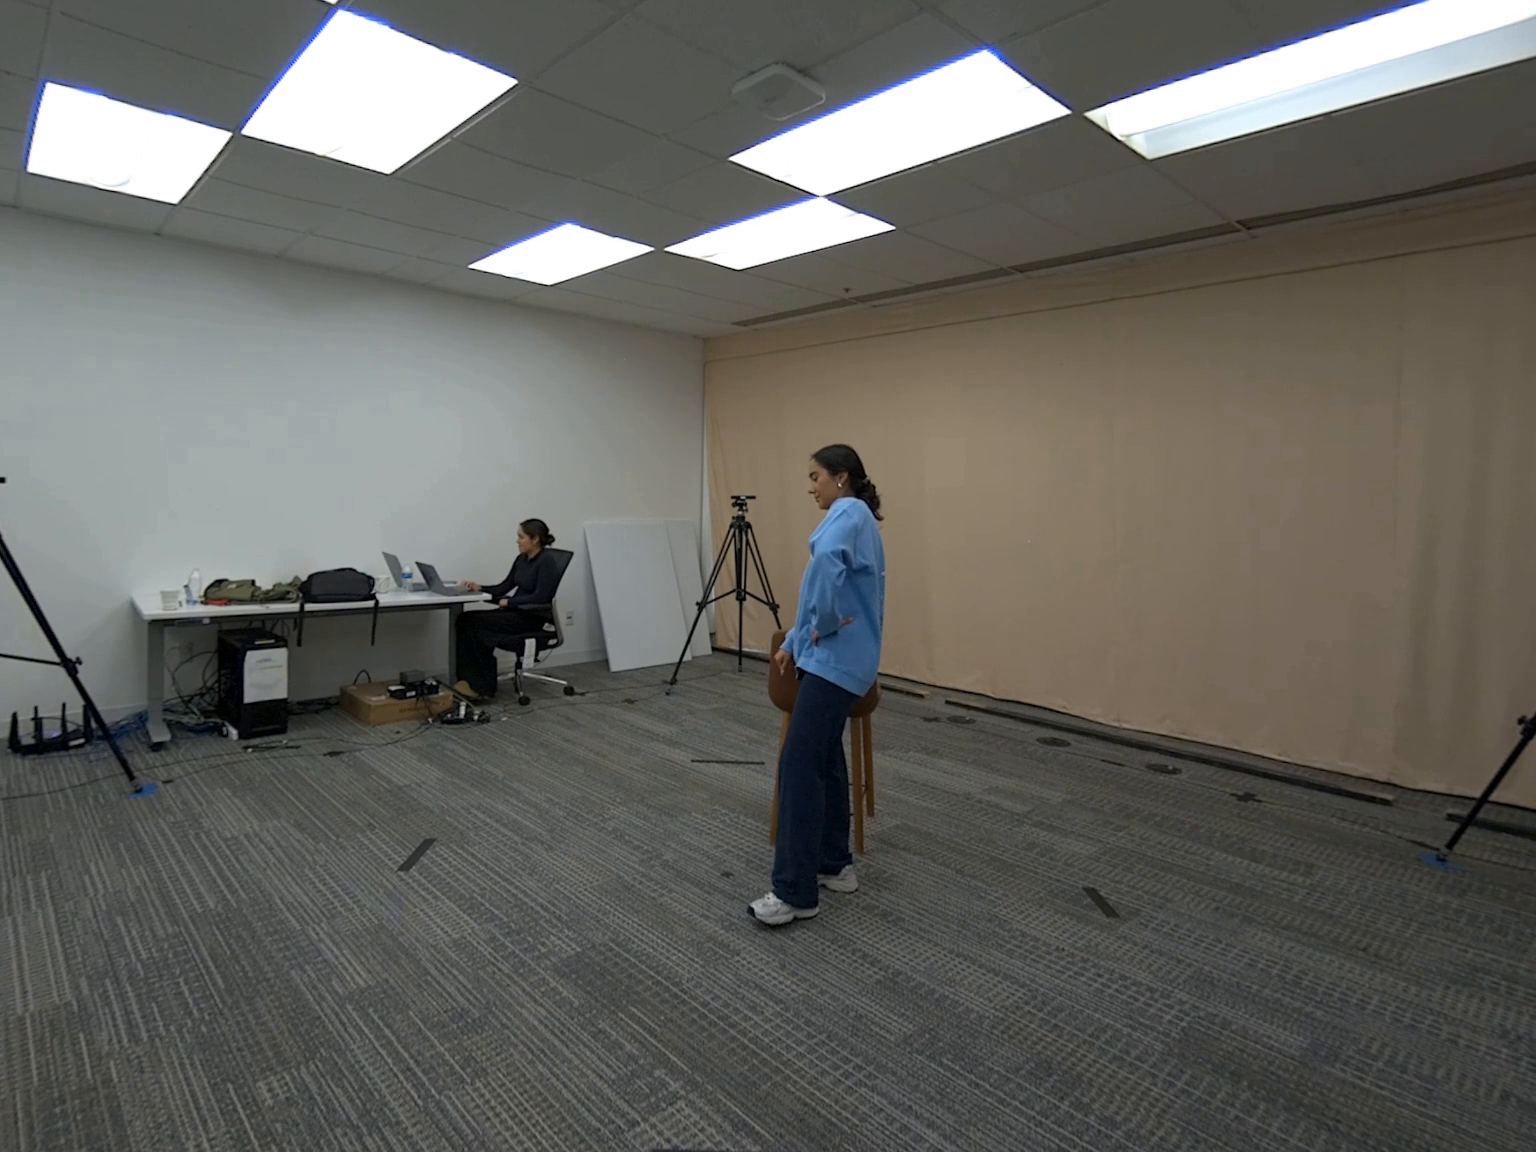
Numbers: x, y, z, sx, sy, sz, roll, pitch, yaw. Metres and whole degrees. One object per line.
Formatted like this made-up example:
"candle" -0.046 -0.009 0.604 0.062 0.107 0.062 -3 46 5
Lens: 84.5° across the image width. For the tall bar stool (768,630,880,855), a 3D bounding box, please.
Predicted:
"tall bar stool" 0.235 0.638 3.540 0.461 0.886 0.464 2 5 13
